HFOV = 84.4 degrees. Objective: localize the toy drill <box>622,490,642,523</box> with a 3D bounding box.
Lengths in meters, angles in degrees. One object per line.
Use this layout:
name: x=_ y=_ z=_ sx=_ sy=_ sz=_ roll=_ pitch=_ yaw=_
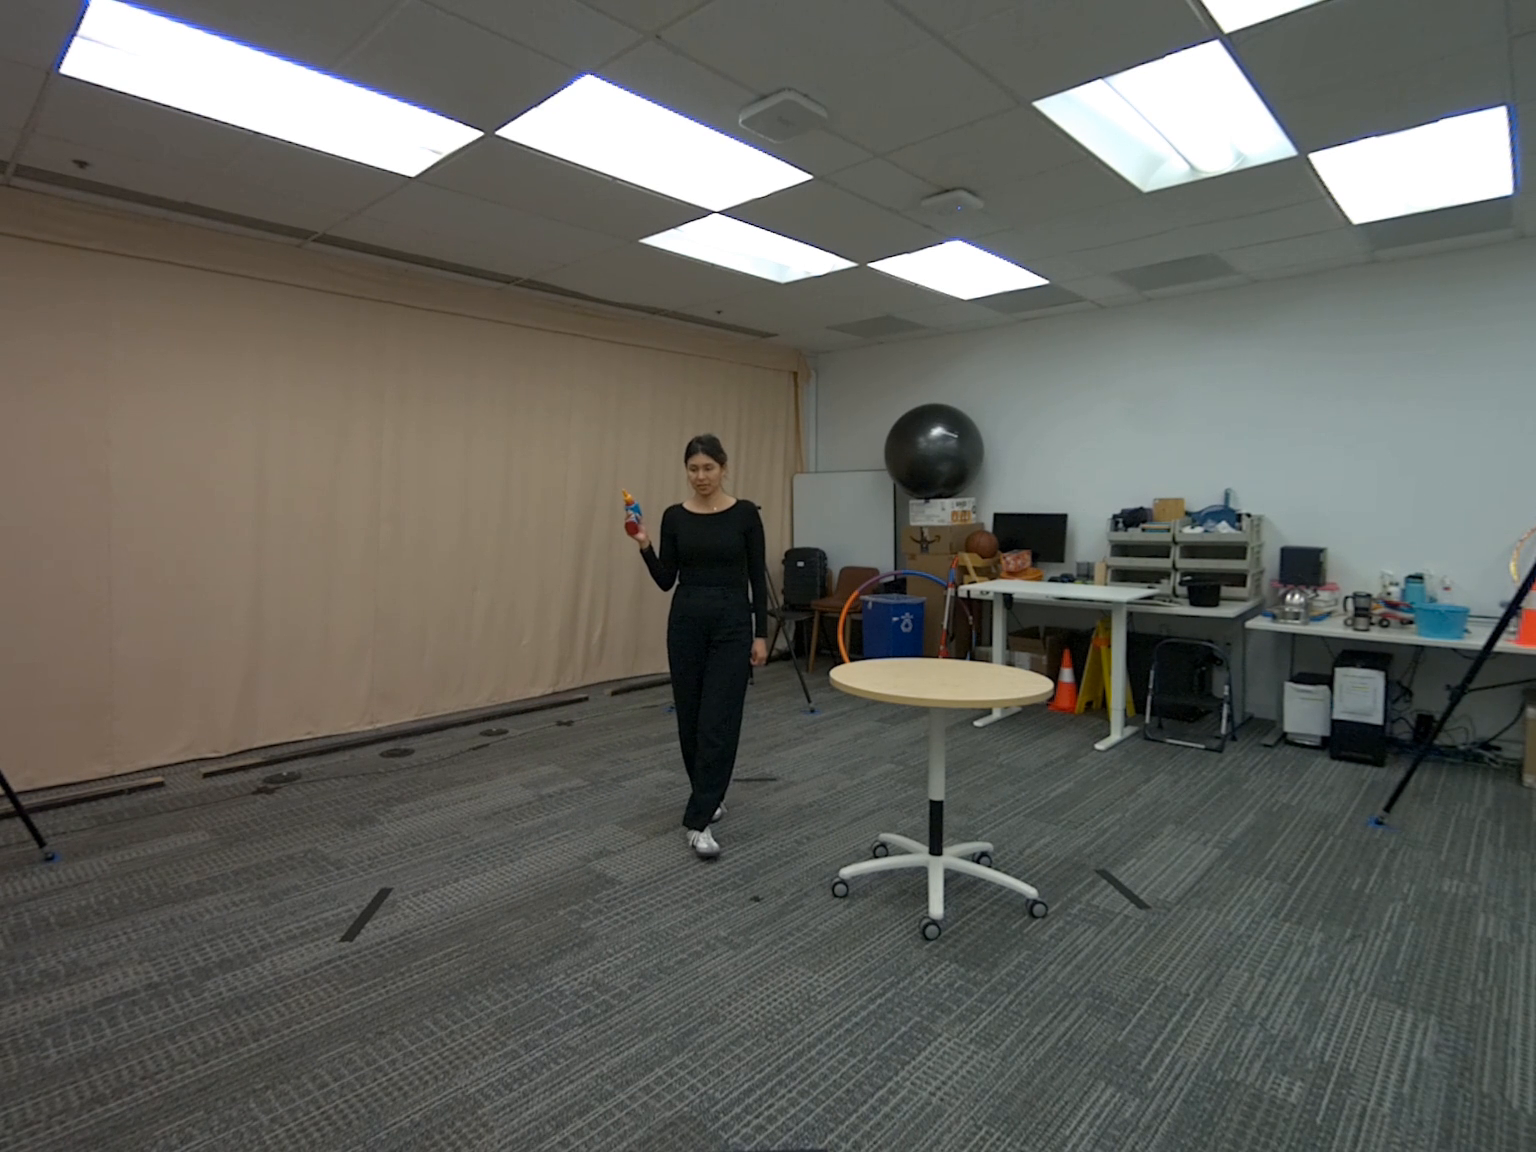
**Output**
toy drill: x=-0.572 y=-0.274 z=3.496 sx=0.062 sy=0.165 sz=0.148 roll=-12 pitch=34 yaw=8
